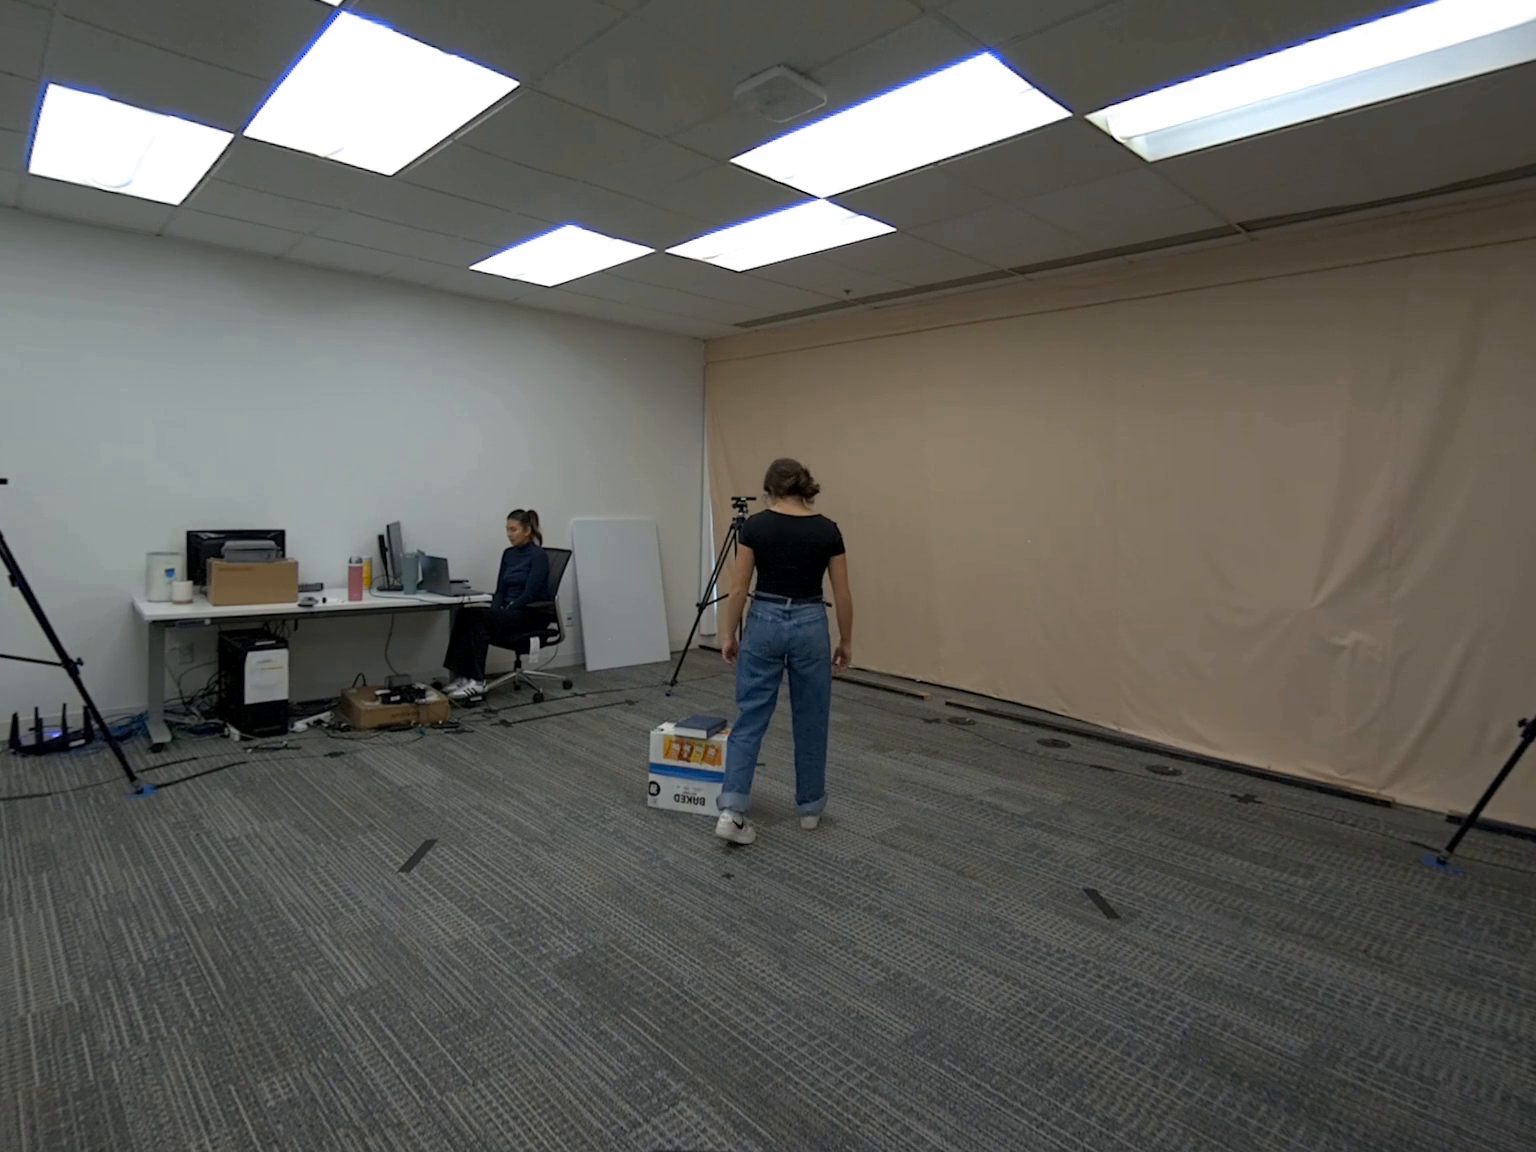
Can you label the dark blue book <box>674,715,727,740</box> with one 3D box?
[{"bbox_3d":[-0.314,0.681,3.810,0.166,0.045,0.242,3,4,19],"label":"dark blue book"}]
